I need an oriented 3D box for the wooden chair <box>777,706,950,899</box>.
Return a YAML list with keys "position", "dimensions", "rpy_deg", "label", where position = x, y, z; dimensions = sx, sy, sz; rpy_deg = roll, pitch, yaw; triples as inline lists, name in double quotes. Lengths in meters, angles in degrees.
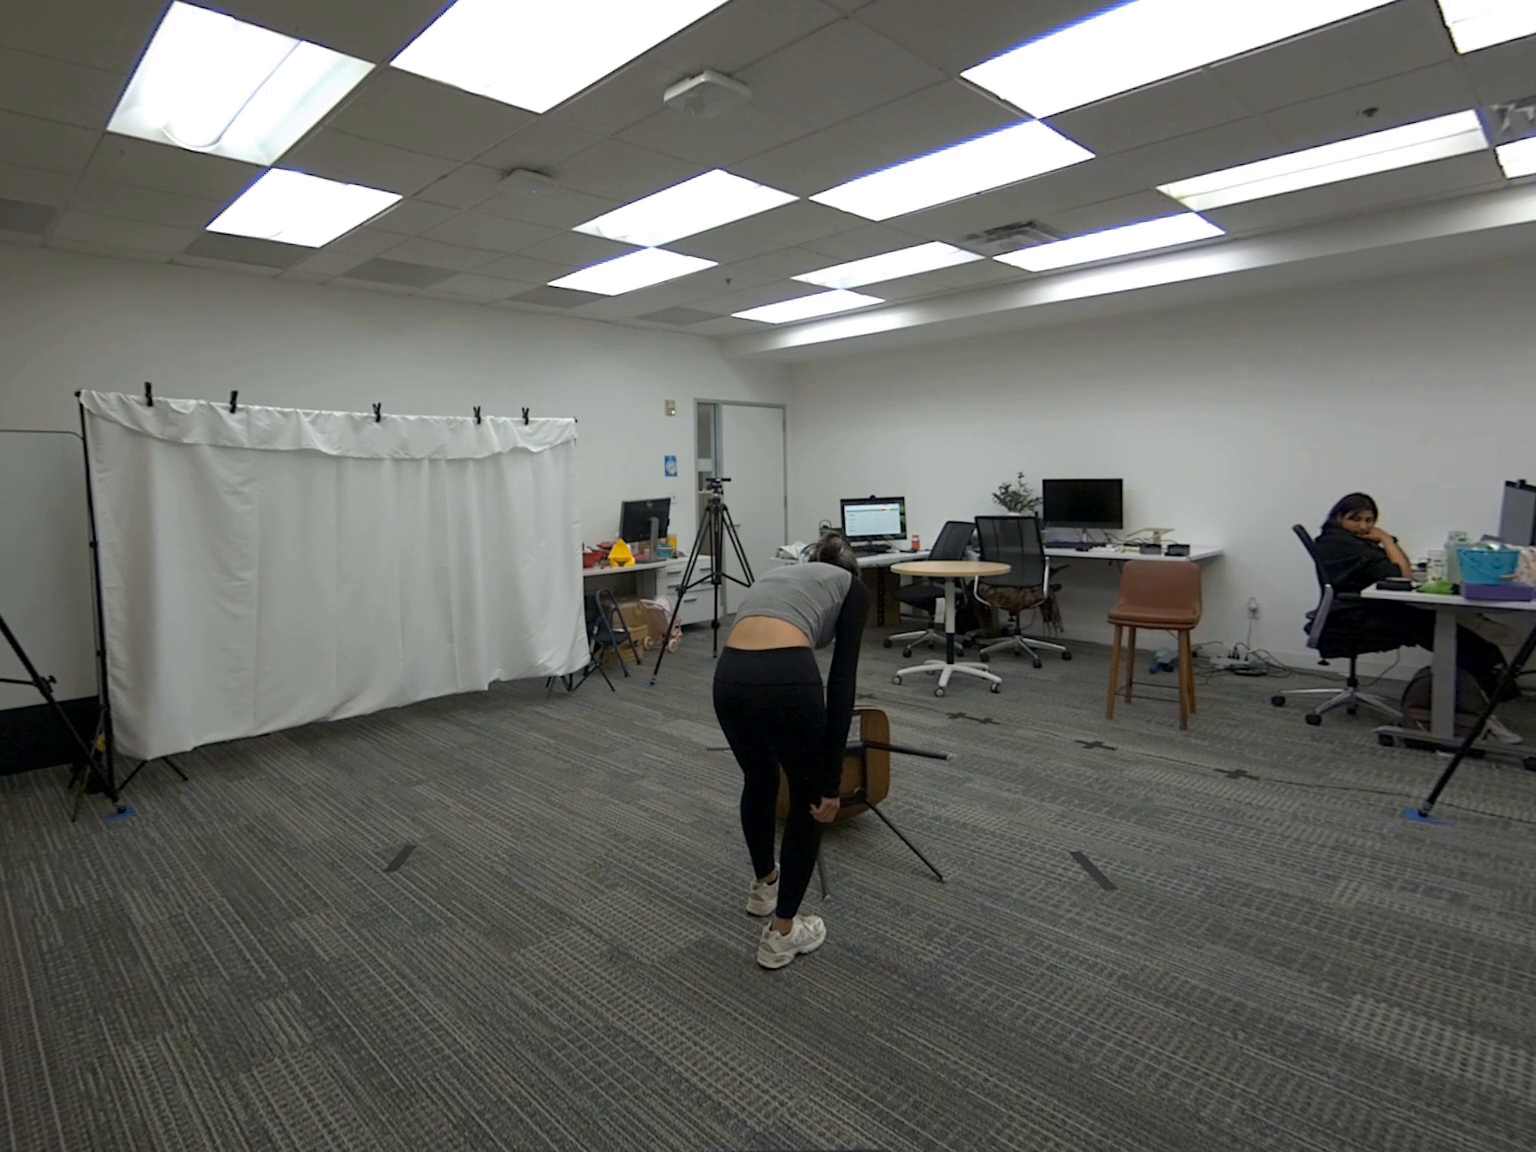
- position: [0.270, 0.756, 3.253]
  dimensions: [0.471, 0.521, 0.893]
  rpy_deg: [-2, 5, -16]
  label: "wooden chair"
